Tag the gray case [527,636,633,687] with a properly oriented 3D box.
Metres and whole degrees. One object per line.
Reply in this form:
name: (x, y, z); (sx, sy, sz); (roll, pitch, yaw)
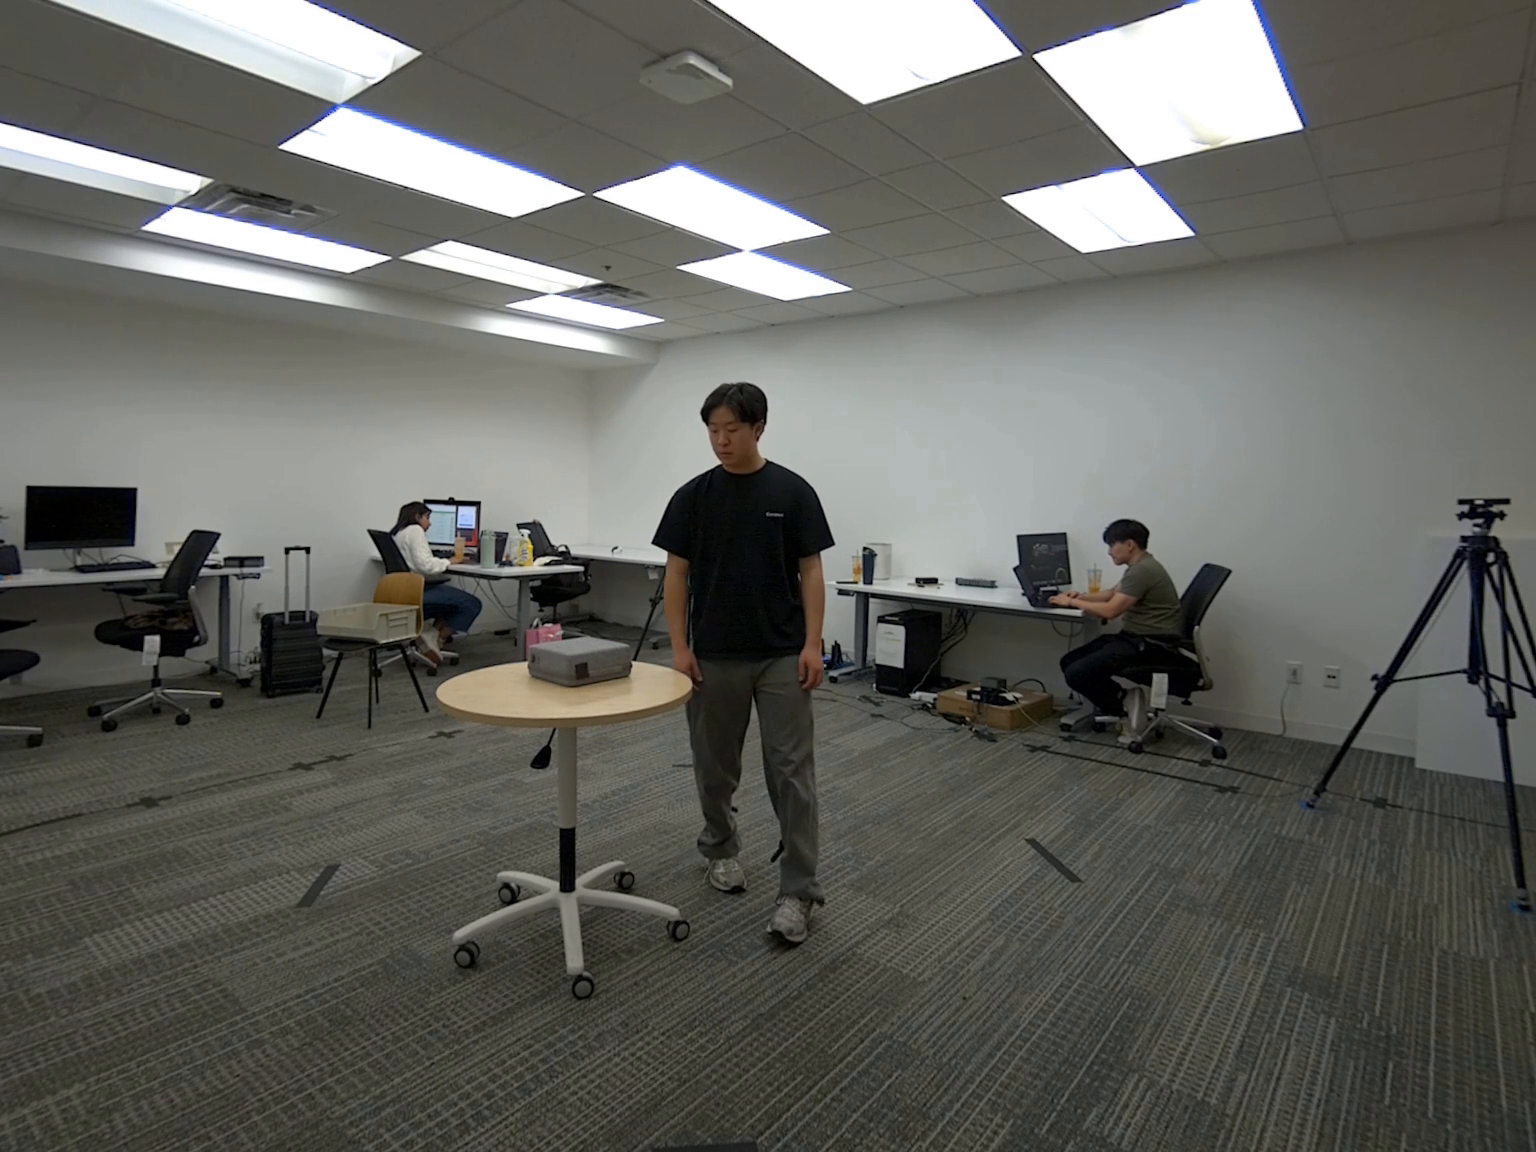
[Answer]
gray case: (-0.621, 0.266, 2.722); (0.297, 0.102, 0.256); (6, 9, 42)
